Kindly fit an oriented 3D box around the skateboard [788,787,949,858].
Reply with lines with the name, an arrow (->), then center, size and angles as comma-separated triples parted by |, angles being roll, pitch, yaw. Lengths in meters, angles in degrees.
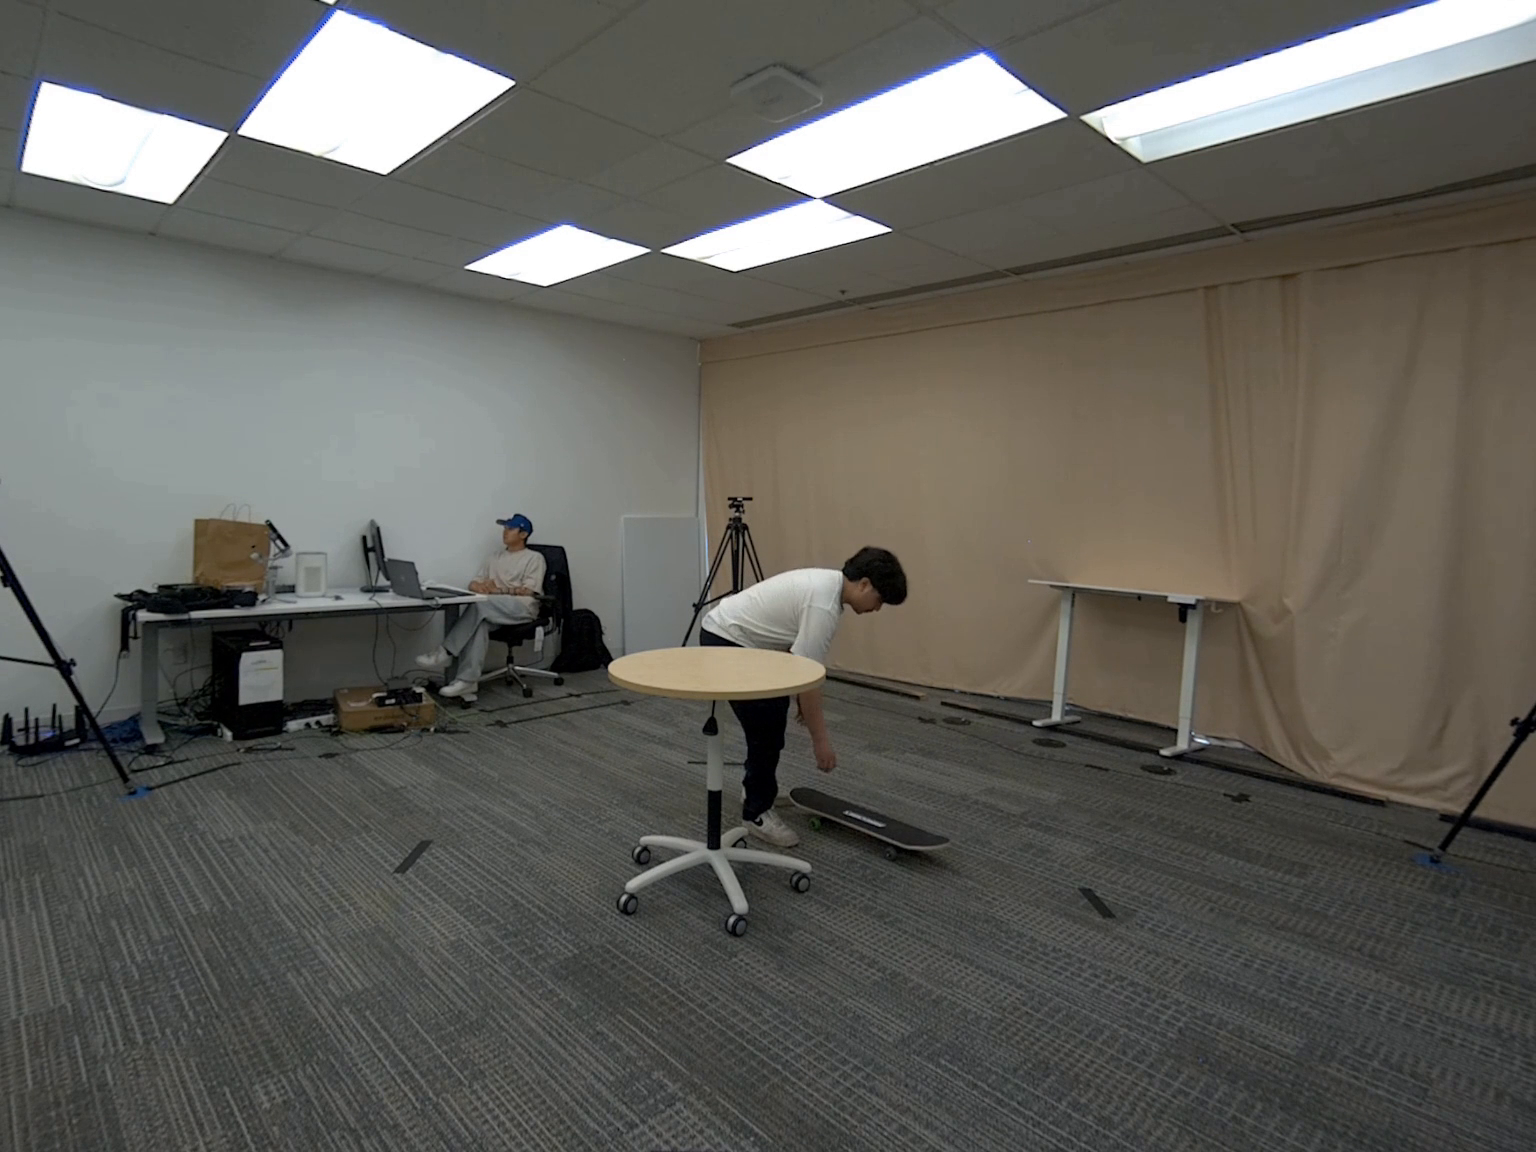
skateboard -> 0.389, 1.039, 3.484 | 0.189, 0.110, 0.806 | -2, 6, -43
